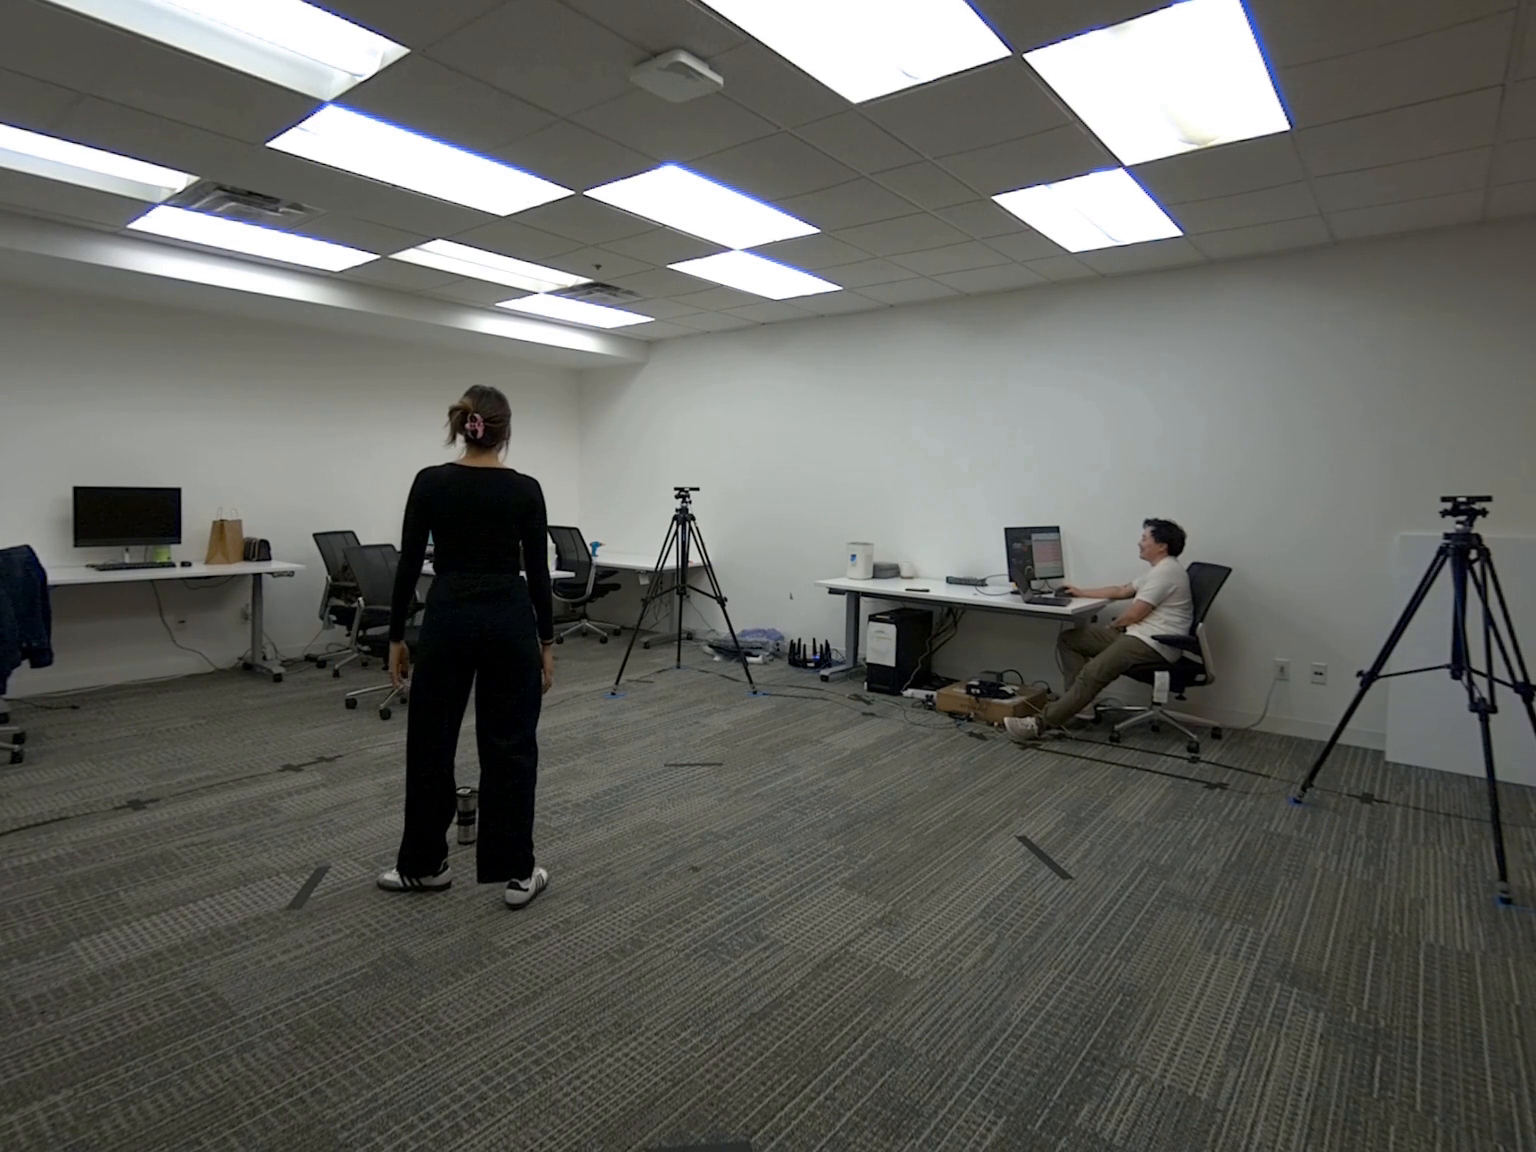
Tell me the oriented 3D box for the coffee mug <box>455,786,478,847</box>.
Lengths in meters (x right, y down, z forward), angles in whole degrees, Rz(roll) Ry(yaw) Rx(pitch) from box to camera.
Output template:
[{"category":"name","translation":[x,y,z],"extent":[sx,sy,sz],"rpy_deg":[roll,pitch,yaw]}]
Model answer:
[{"category":"coffee mug","translation":[-1.210,0.936,3.326],"extent":[0.123,0.202,0.088],"rpy_deg":[3,6,4]}]
